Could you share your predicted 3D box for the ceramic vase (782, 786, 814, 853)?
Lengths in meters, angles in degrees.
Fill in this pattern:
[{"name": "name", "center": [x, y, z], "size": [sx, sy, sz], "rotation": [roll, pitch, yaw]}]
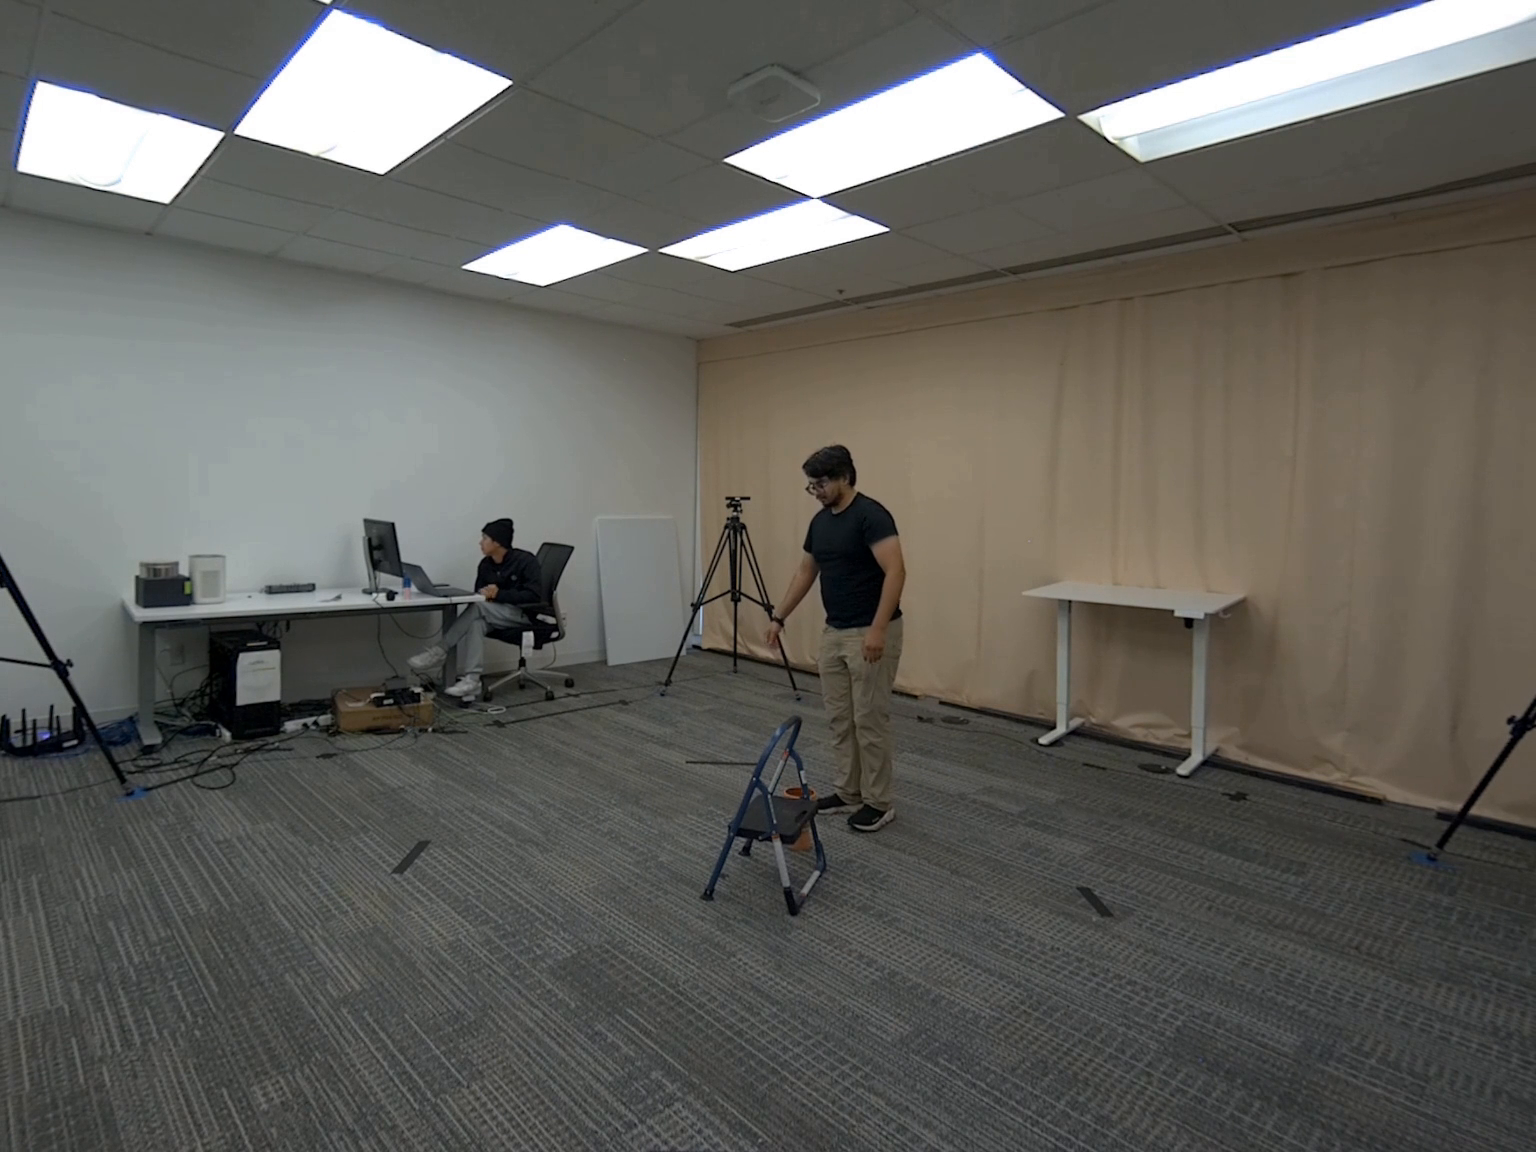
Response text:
[{"name": "ceramic vase", "center": [0.123, 0.977, 3.388], "size": [0.155, 0.219, 0.138], "rotation": [0, 4, -30]}]
